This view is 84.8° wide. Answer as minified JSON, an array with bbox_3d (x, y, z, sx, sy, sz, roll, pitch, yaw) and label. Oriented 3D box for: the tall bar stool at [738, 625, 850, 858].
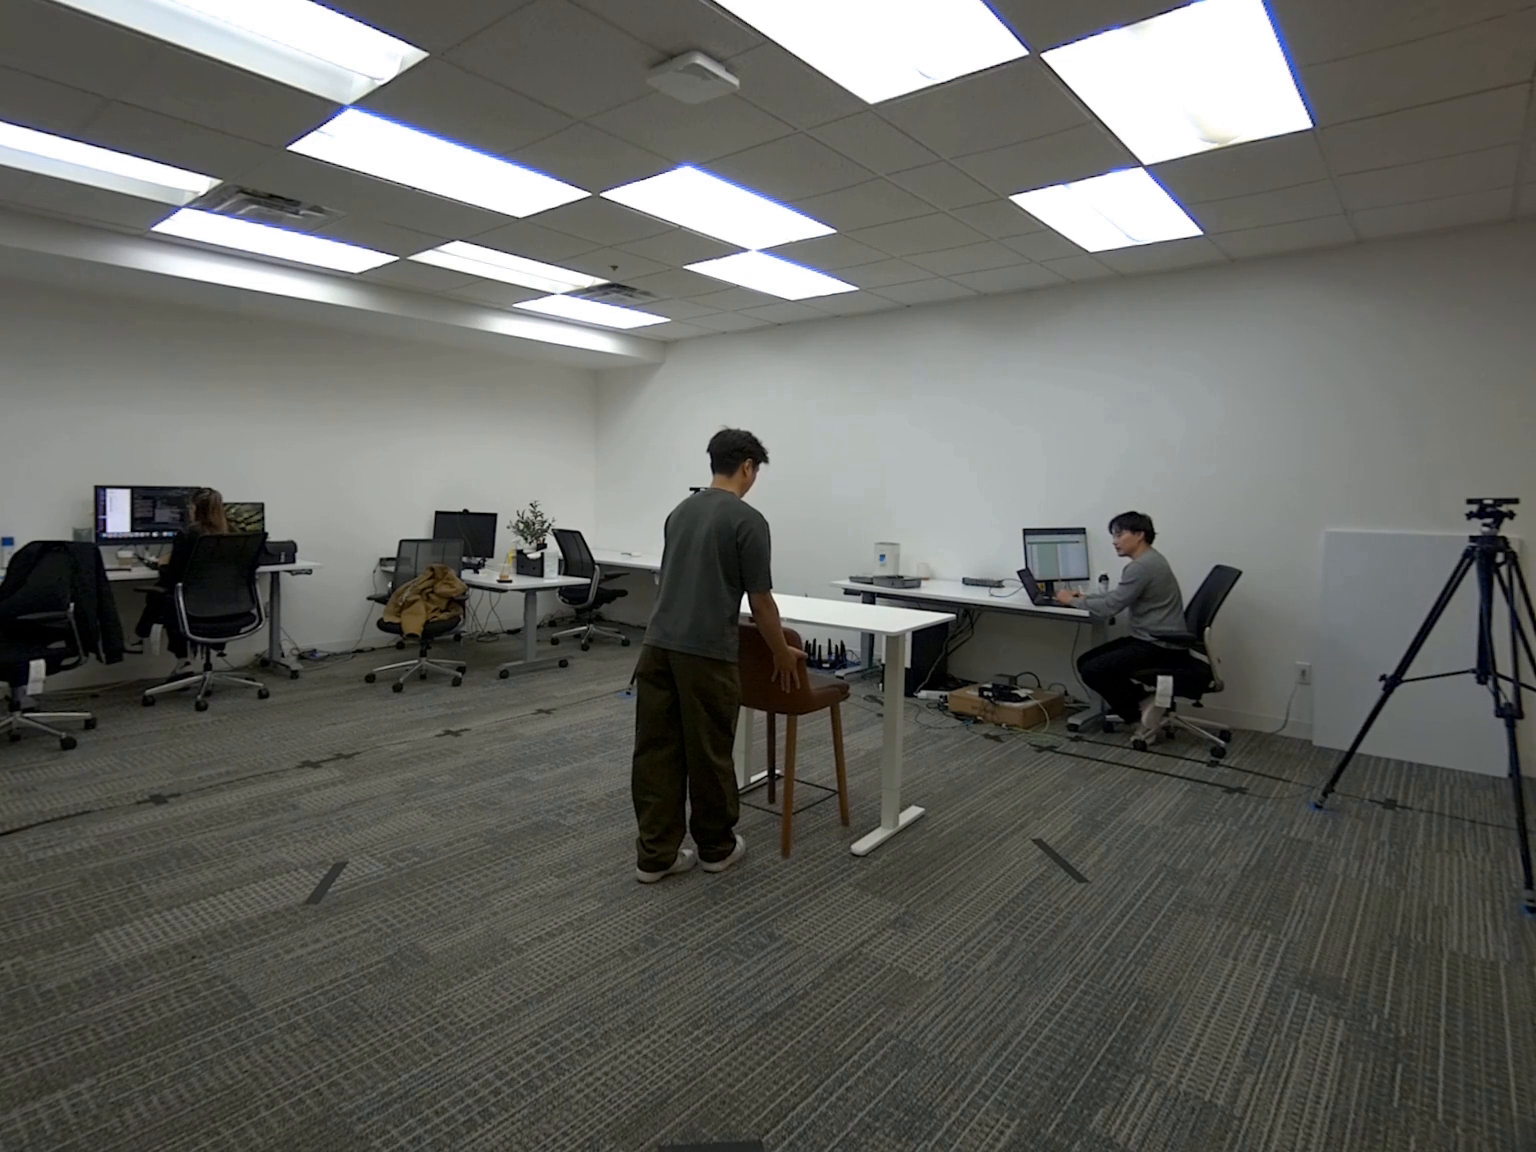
[{"bbox_3d":[0.043,0.595,3.469,0.472,0.885,0.455,4,7,38],"label":"tall bar stool"}]
